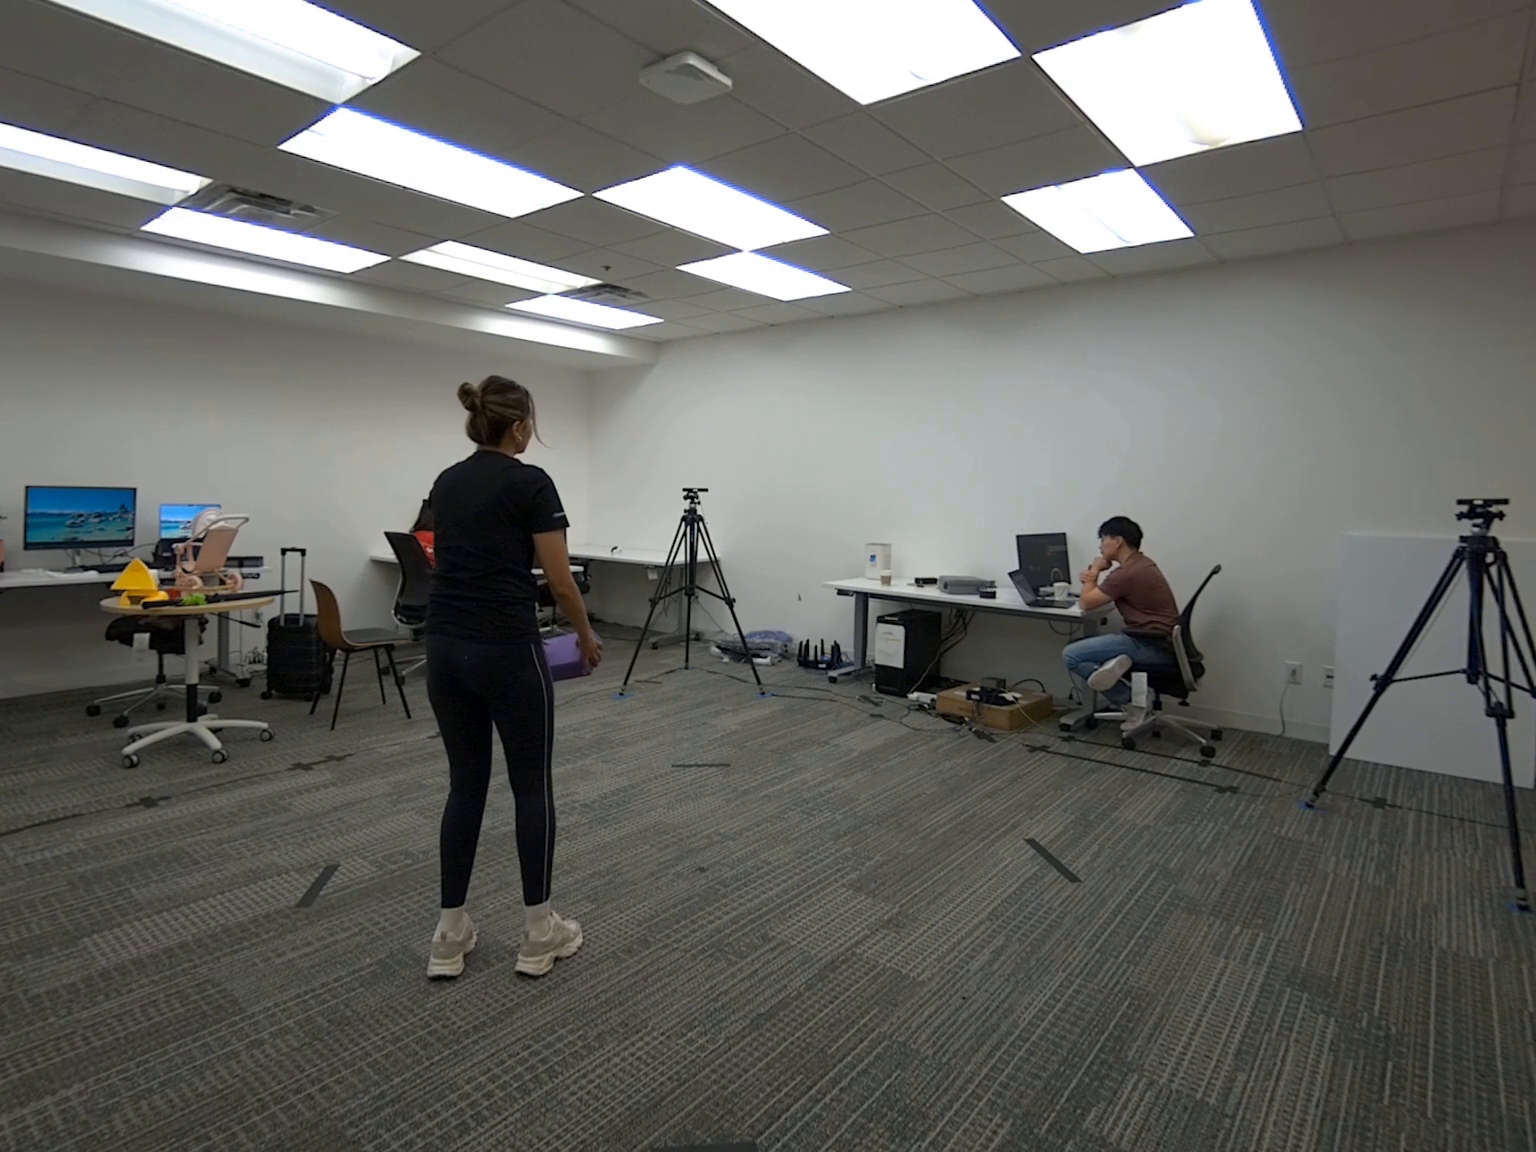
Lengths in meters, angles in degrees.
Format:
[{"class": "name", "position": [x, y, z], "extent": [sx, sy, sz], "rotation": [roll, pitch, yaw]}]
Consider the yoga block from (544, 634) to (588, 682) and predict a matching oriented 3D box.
[{"class": "yoga block", "position": [-0.714, 0.266, 2.870], "extent": [0.233, 0.073, 0.152], "rotation": [-13, 39, 24]}]
